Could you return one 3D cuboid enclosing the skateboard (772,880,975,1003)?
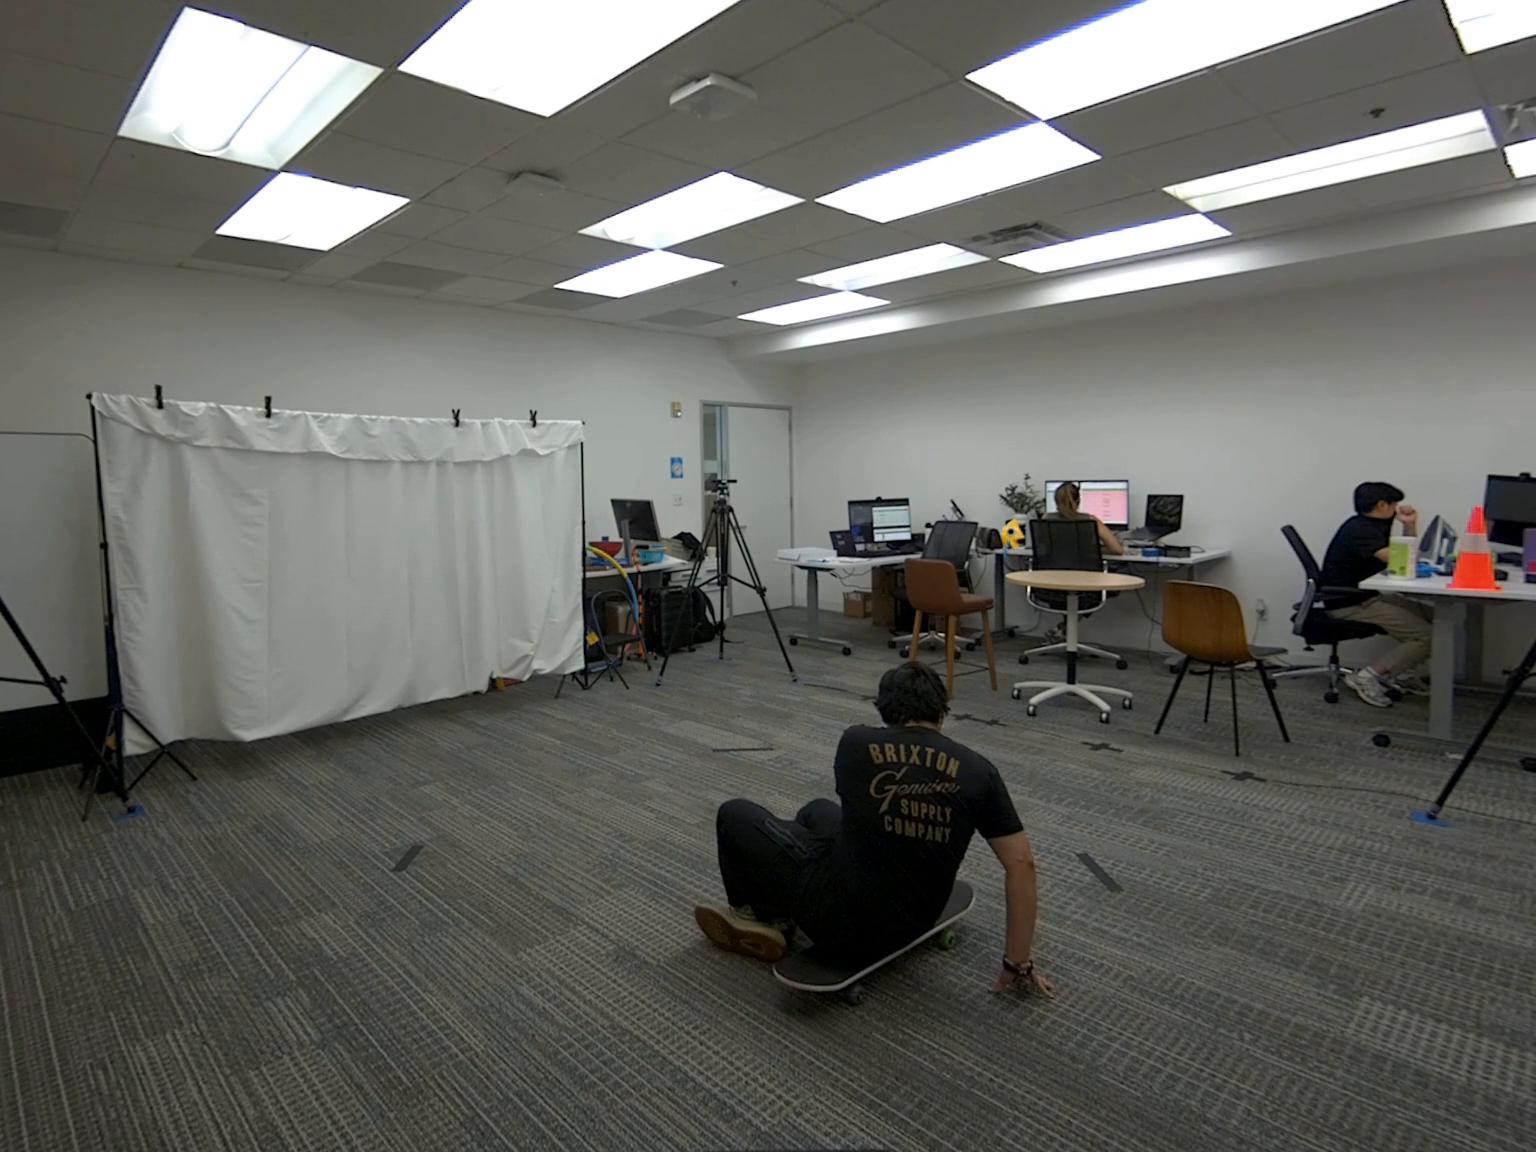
[{"bbox_3d":[0.328,1.061,2.459,0.766,0.110,0.199,-8,6,-39],"label":"skateboard"}]
